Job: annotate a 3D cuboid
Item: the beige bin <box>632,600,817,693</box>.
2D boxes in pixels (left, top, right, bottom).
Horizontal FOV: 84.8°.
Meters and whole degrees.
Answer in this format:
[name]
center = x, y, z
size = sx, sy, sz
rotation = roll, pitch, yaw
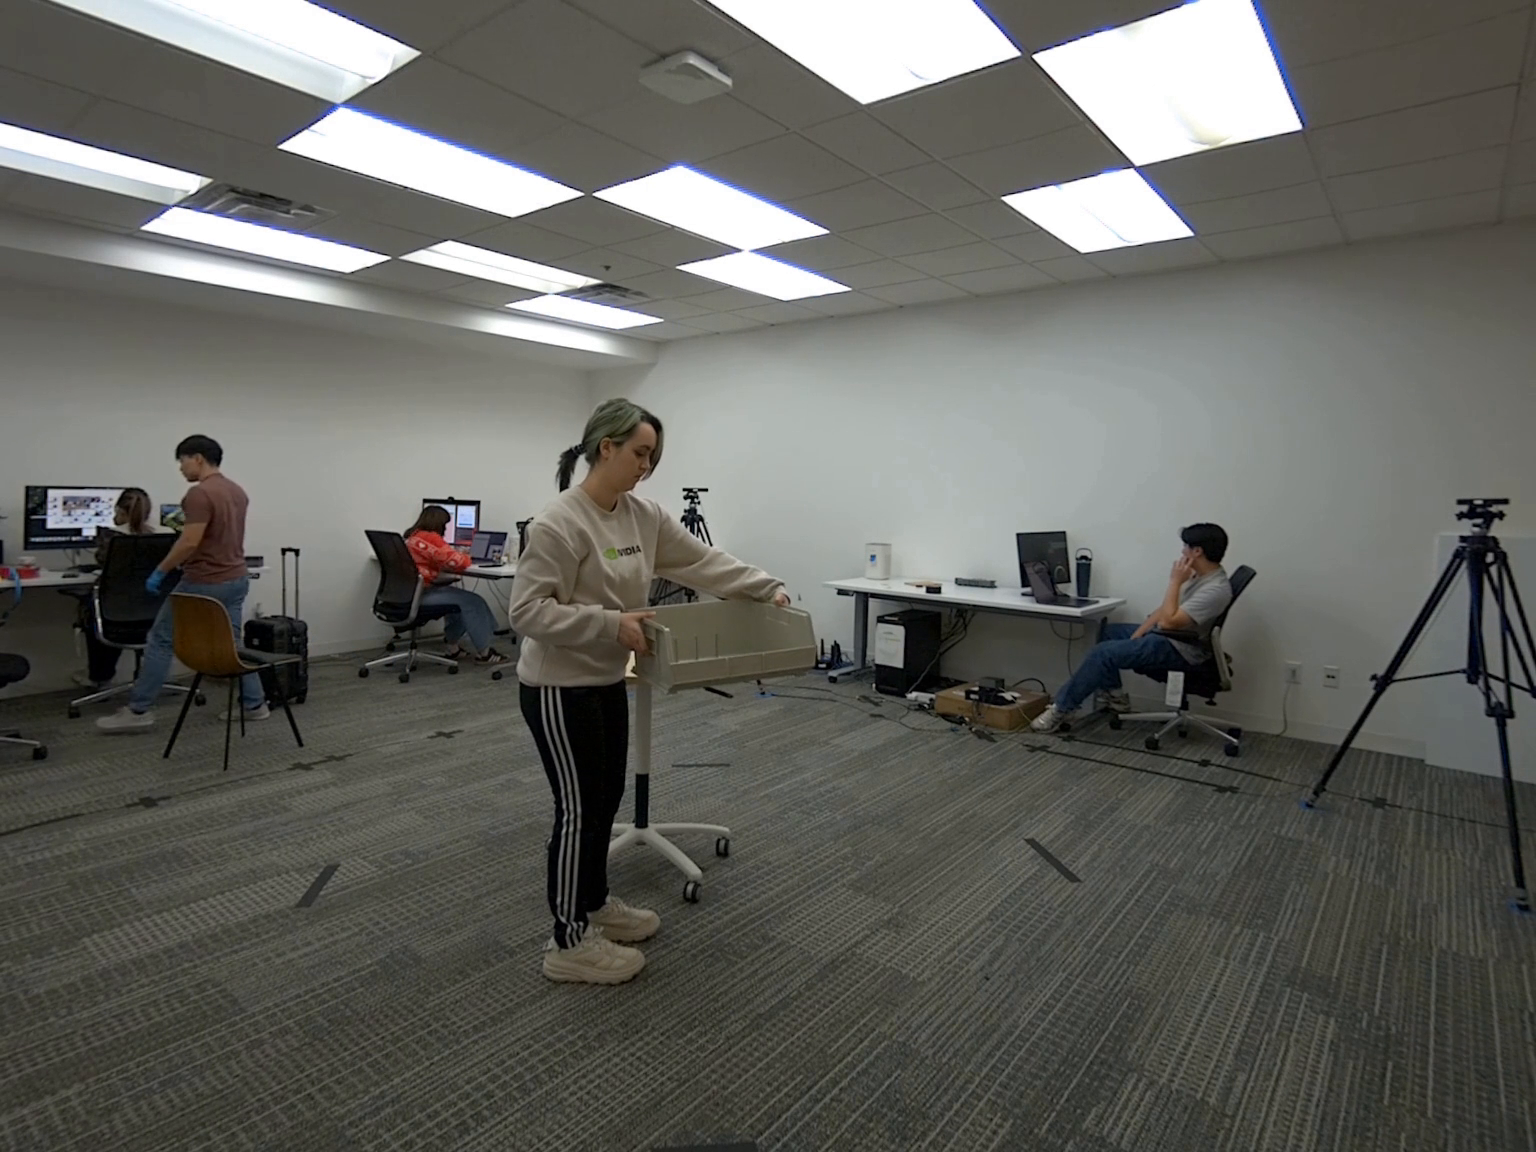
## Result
[beige bin]
center = -0.150, 0.193, 2.361
size = 0.414, 0.188, 0.387
rotation = -5, 6, -22
